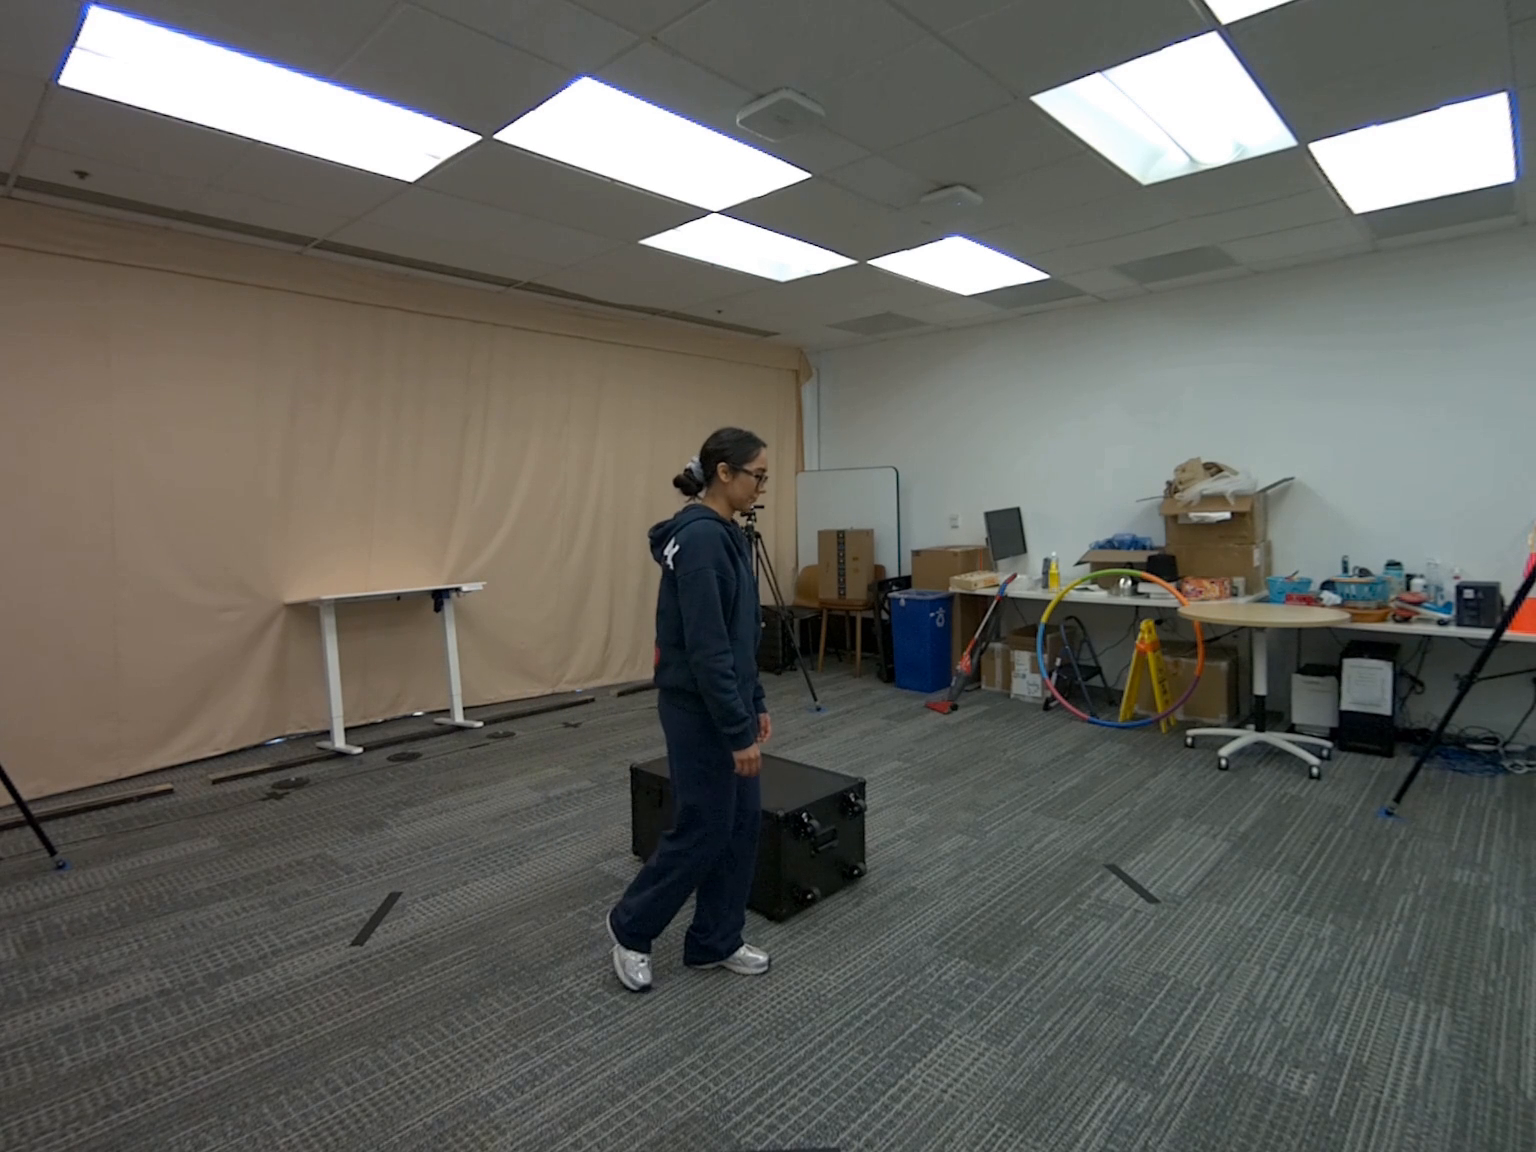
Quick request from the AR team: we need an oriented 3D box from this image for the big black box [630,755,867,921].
[{"bbox_3d":[-0.066,0.933,3.188,0.890,0.395,0.505,2,5,43],"label":"big black box"}]
